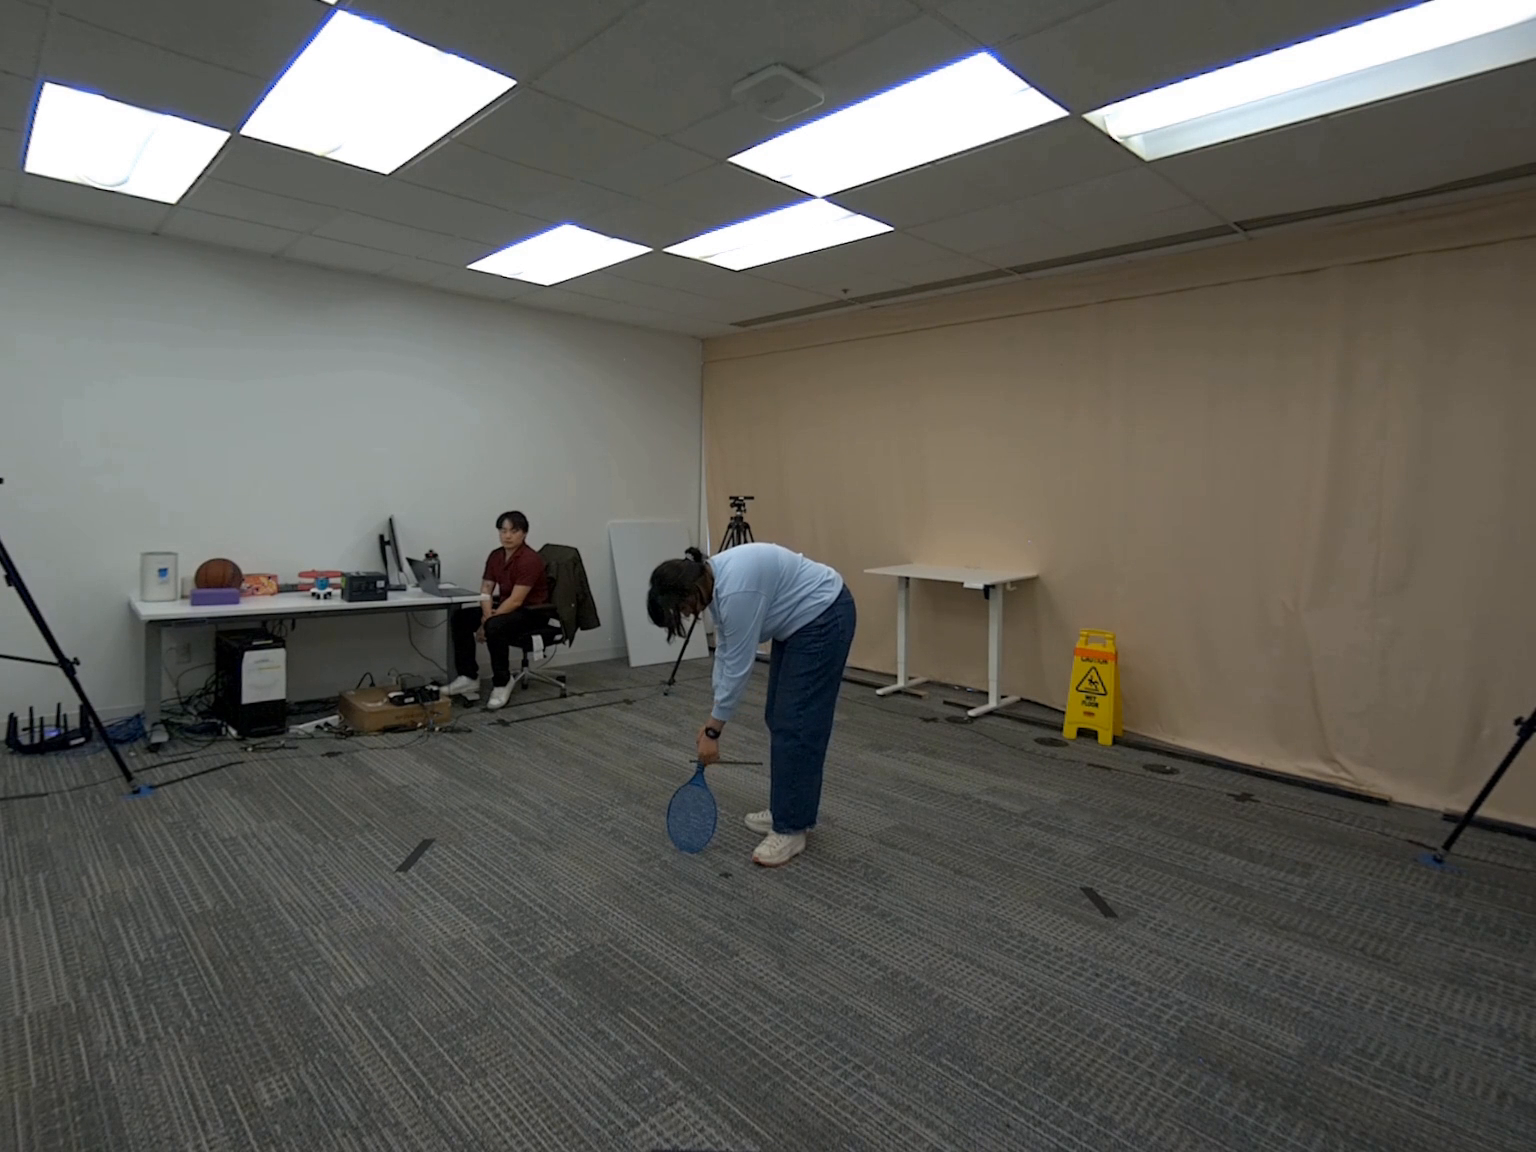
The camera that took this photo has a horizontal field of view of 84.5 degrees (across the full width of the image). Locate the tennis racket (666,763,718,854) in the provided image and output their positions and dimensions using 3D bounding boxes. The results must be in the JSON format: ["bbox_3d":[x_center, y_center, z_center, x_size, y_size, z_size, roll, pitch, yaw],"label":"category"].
[{"bbox_3d":[-0.290,0.872,3.321,0.218,0.434,0.031,9,-6,24],"label":"tennis racket"}]
